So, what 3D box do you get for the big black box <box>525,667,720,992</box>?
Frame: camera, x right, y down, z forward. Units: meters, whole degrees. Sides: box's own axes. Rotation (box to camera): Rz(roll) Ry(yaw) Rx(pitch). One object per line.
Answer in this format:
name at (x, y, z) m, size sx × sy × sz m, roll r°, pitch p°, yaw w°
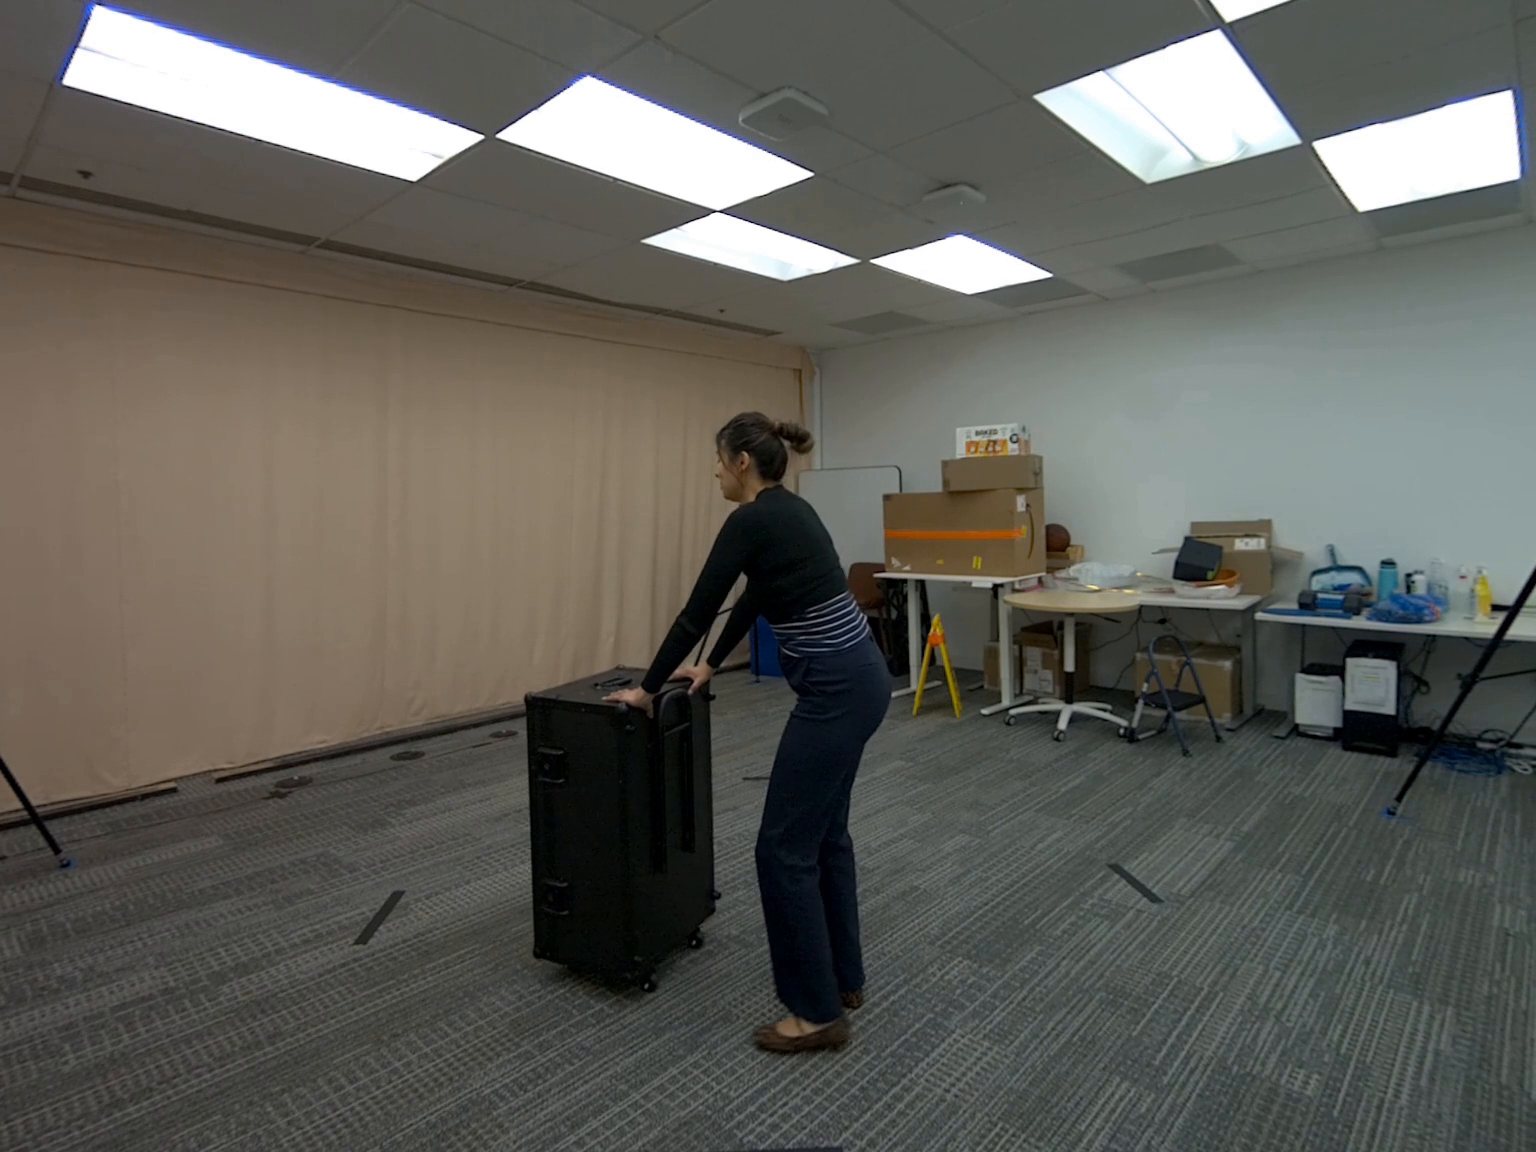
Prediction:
big black box at (-0.427, 0.756, 2.598) m, size 0.407 × 0.859 × 0.508 m, roll 1°, pitch 4°, yaw 27°
